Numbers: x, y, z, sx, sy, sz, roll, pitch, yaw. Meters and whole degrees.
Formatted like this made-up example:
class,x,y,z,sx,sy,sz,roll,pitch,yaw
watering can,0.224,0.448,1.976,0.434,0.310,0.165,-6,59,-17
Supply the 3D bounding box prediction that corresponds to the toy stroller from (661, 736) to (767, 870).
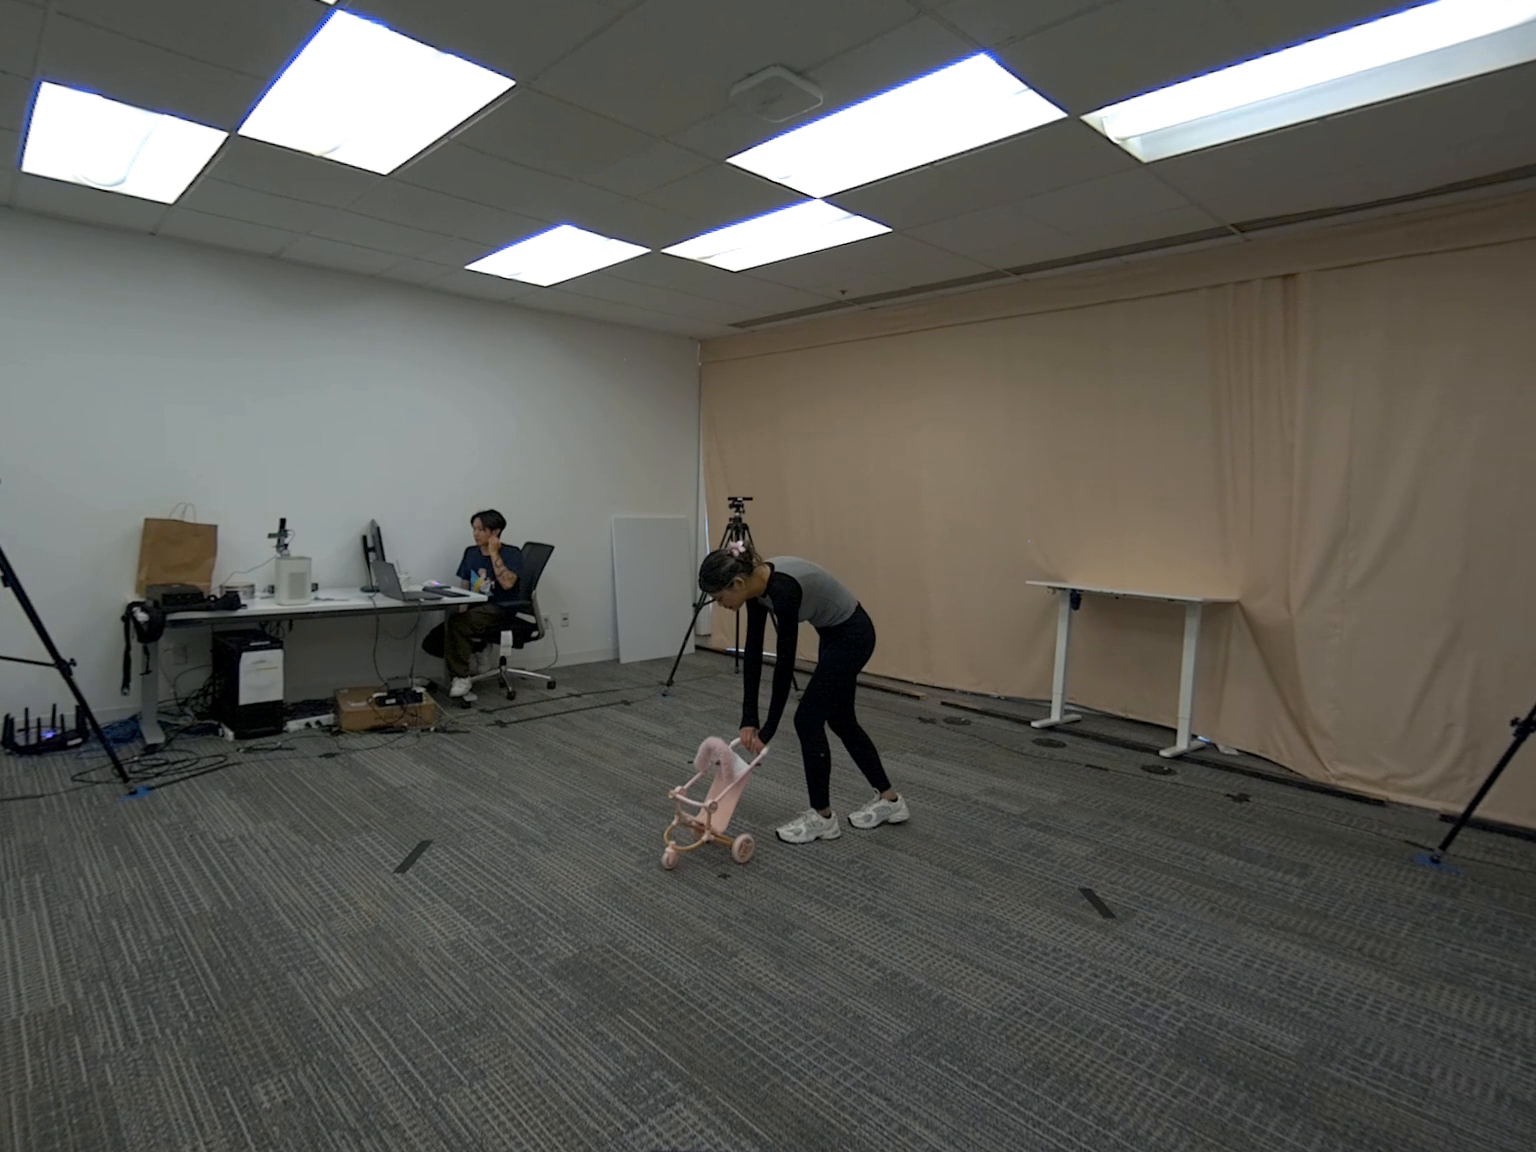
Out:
class,x,y,z,sx,sy,sz,roll,pitch,yaw
toy stroller,-0.233,0.868,3.266,0.332,0.537,0.288,19,-9,-37
